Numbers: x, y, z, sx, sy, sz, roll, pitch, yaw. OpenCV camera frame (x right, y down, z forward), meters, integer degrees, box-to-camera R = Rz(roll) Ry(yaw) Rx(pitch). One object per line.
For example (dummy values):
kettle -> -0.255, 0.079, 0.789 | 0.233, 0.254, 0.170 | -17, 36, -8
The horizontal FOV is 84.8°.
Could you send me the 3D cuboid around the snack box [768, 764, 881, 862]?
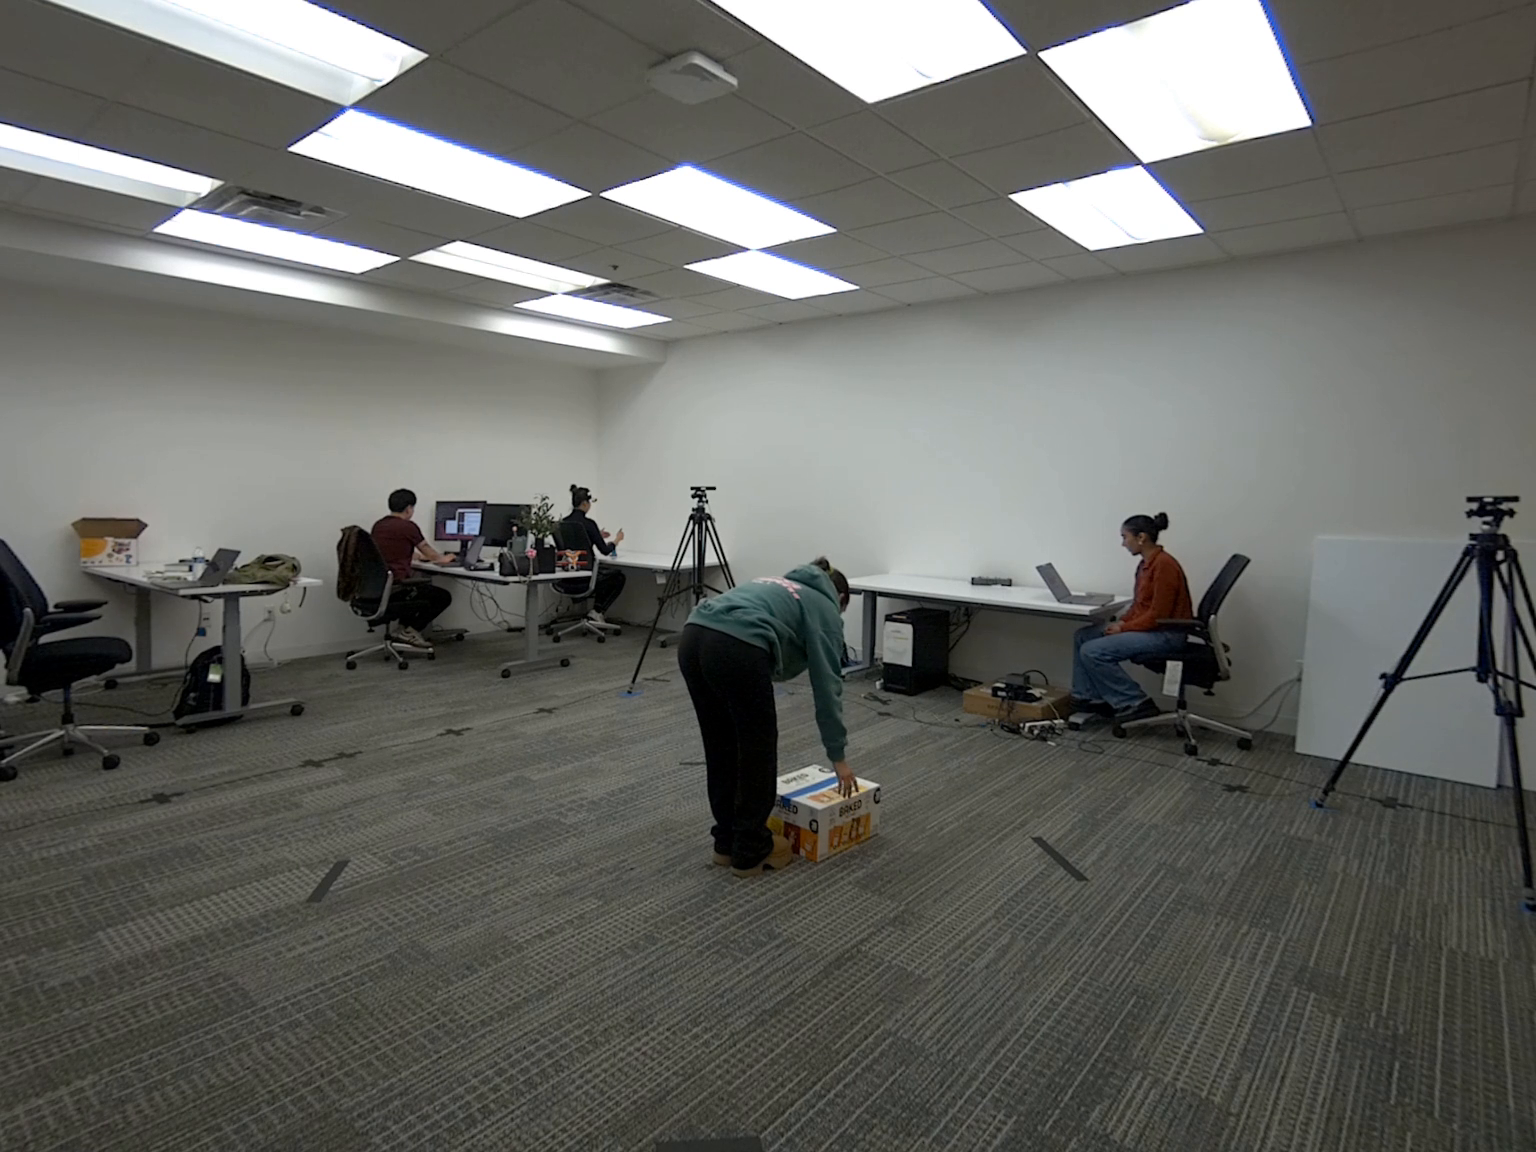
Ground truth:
snack box -> 0.191, 0.941, 3.426 | 0.352, 0.205, 0.393 | 6, 7, 43
